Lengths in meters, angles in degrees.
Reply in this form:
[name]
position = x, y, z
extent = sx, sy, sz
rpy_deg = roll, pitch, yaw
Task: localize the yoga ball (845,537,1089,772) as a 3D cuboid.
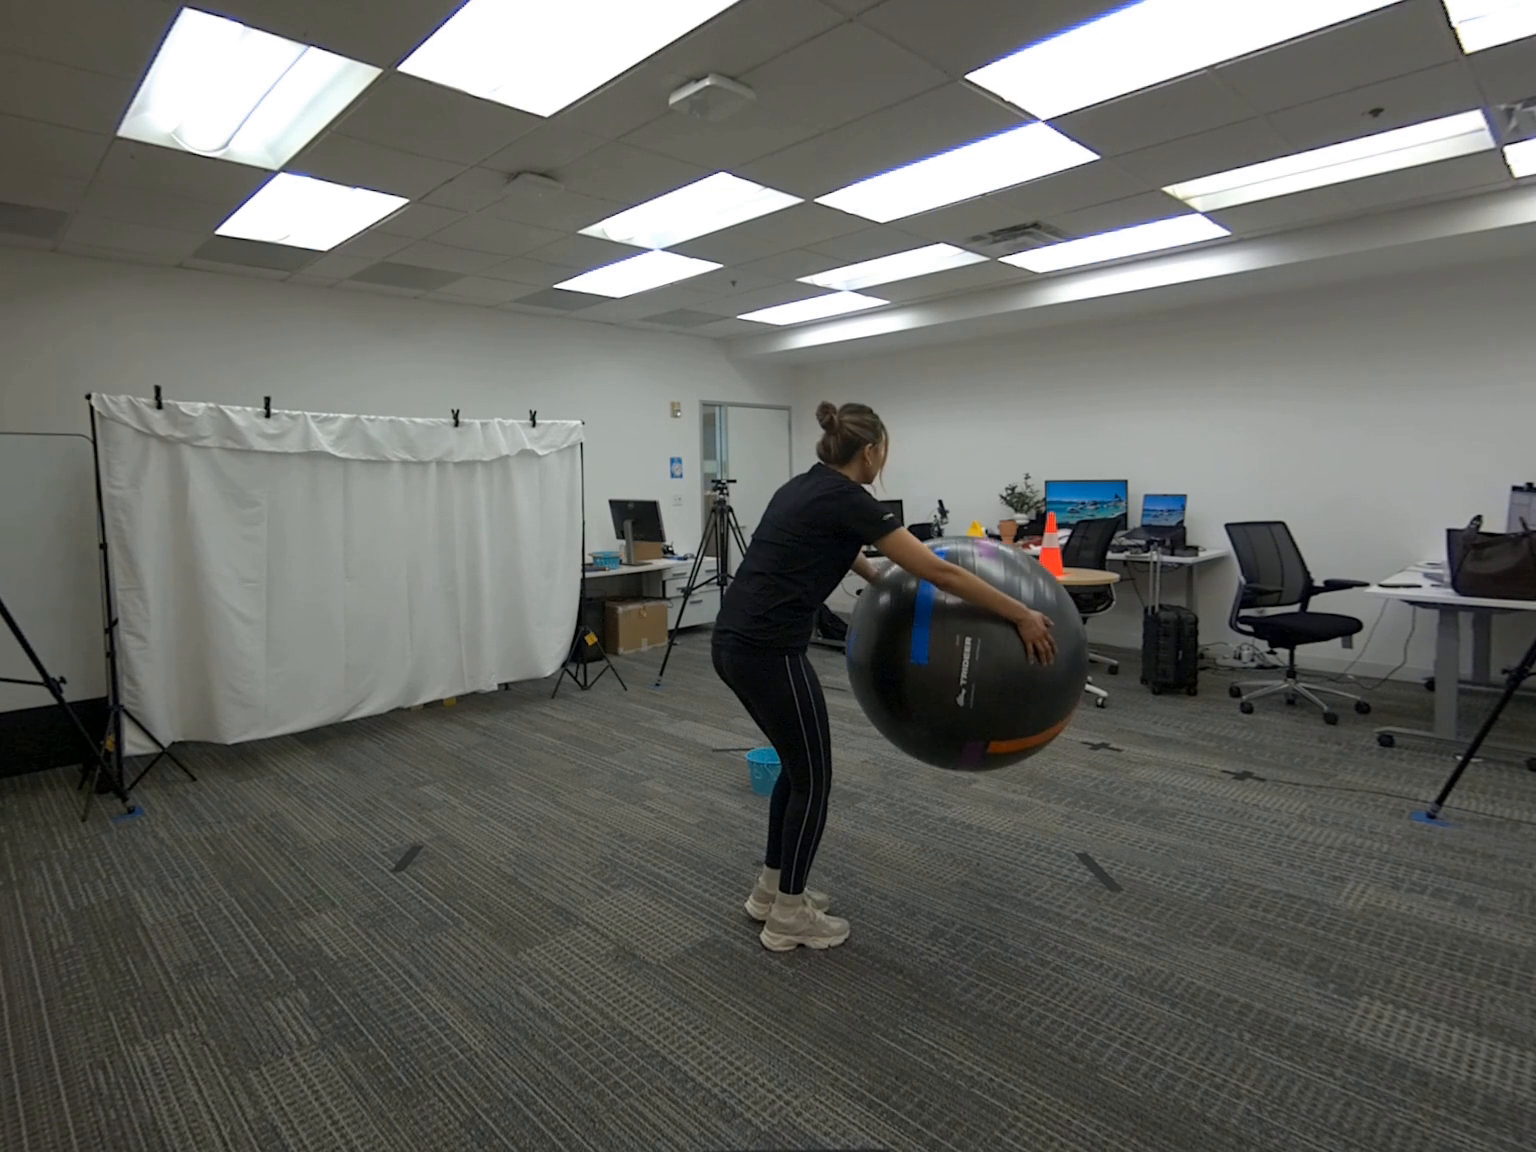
[yoga ball]
position = 0.640, 0.260, 2.795
extent = 0.757, 0.755, 0.762
rpy_deg = -1, 5, -2
